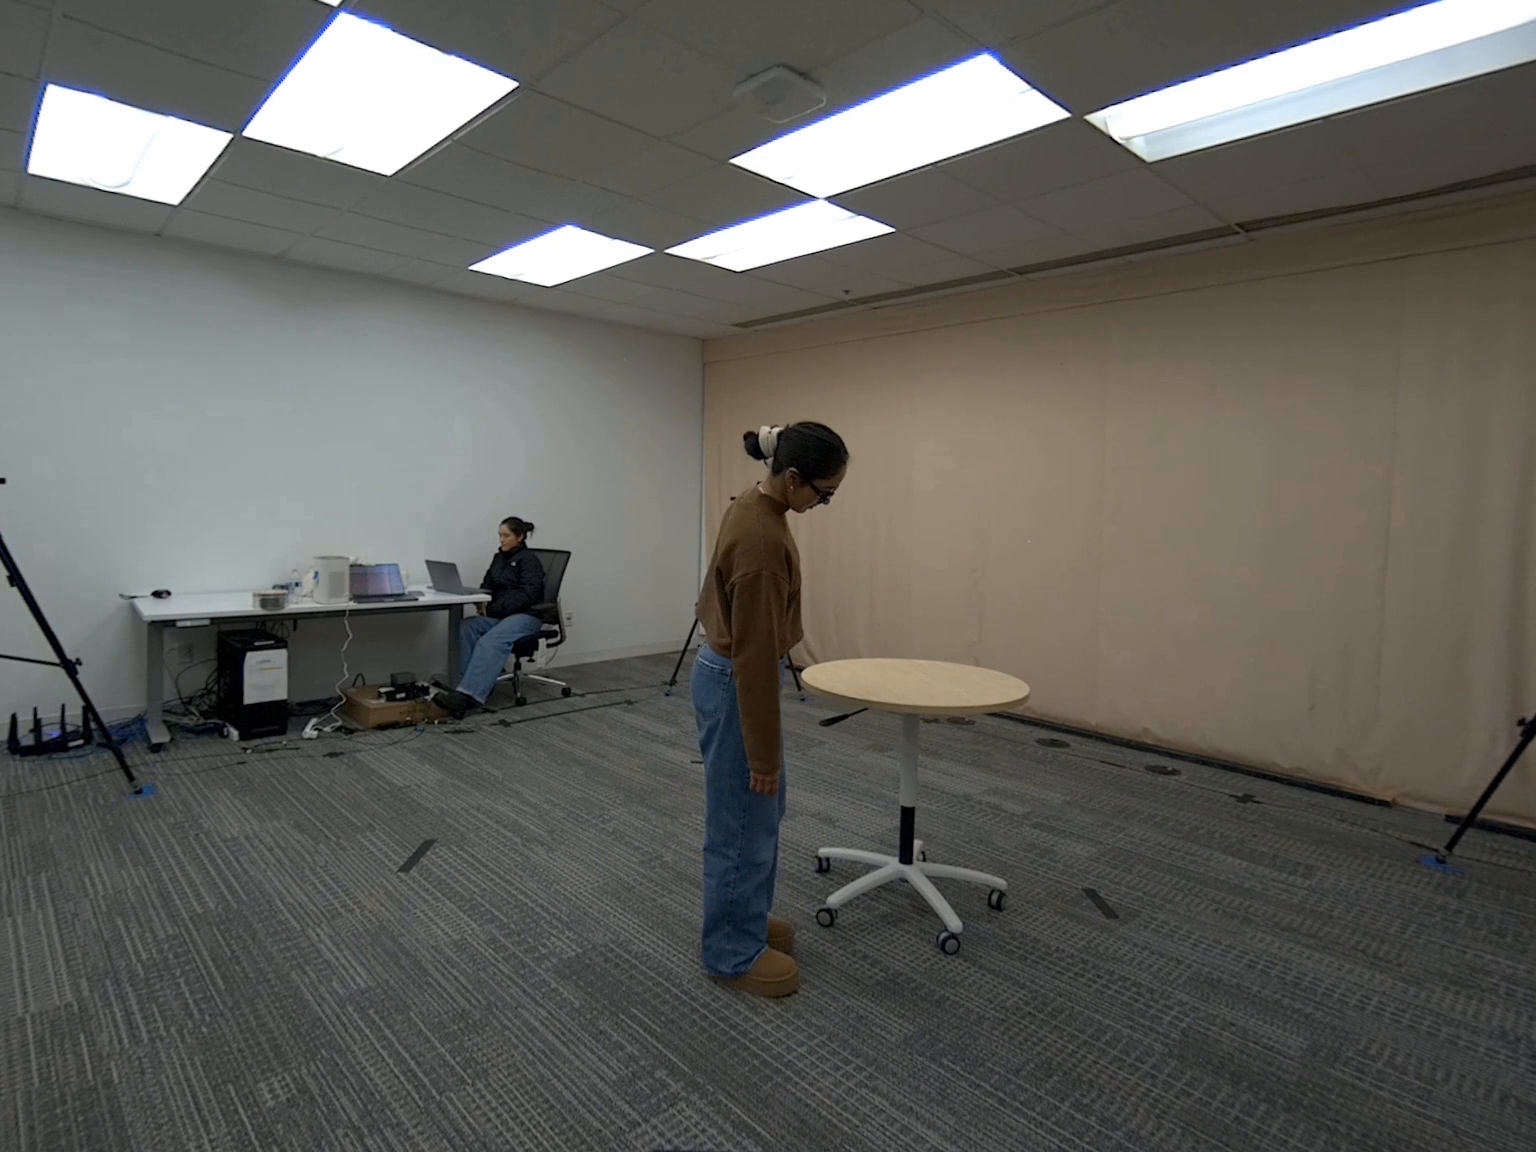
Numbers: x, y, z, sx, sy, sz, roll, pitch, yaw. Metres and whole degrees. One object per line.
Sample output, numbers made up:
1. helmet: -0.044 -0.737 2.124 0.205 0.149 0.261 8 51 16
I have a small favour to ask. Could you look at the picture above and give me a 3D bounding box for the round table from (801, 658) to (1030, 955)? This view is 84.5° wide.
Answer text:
1. round table: 0.473 0.748 2.919 0.763 0.792 0.766 2 4 -1
